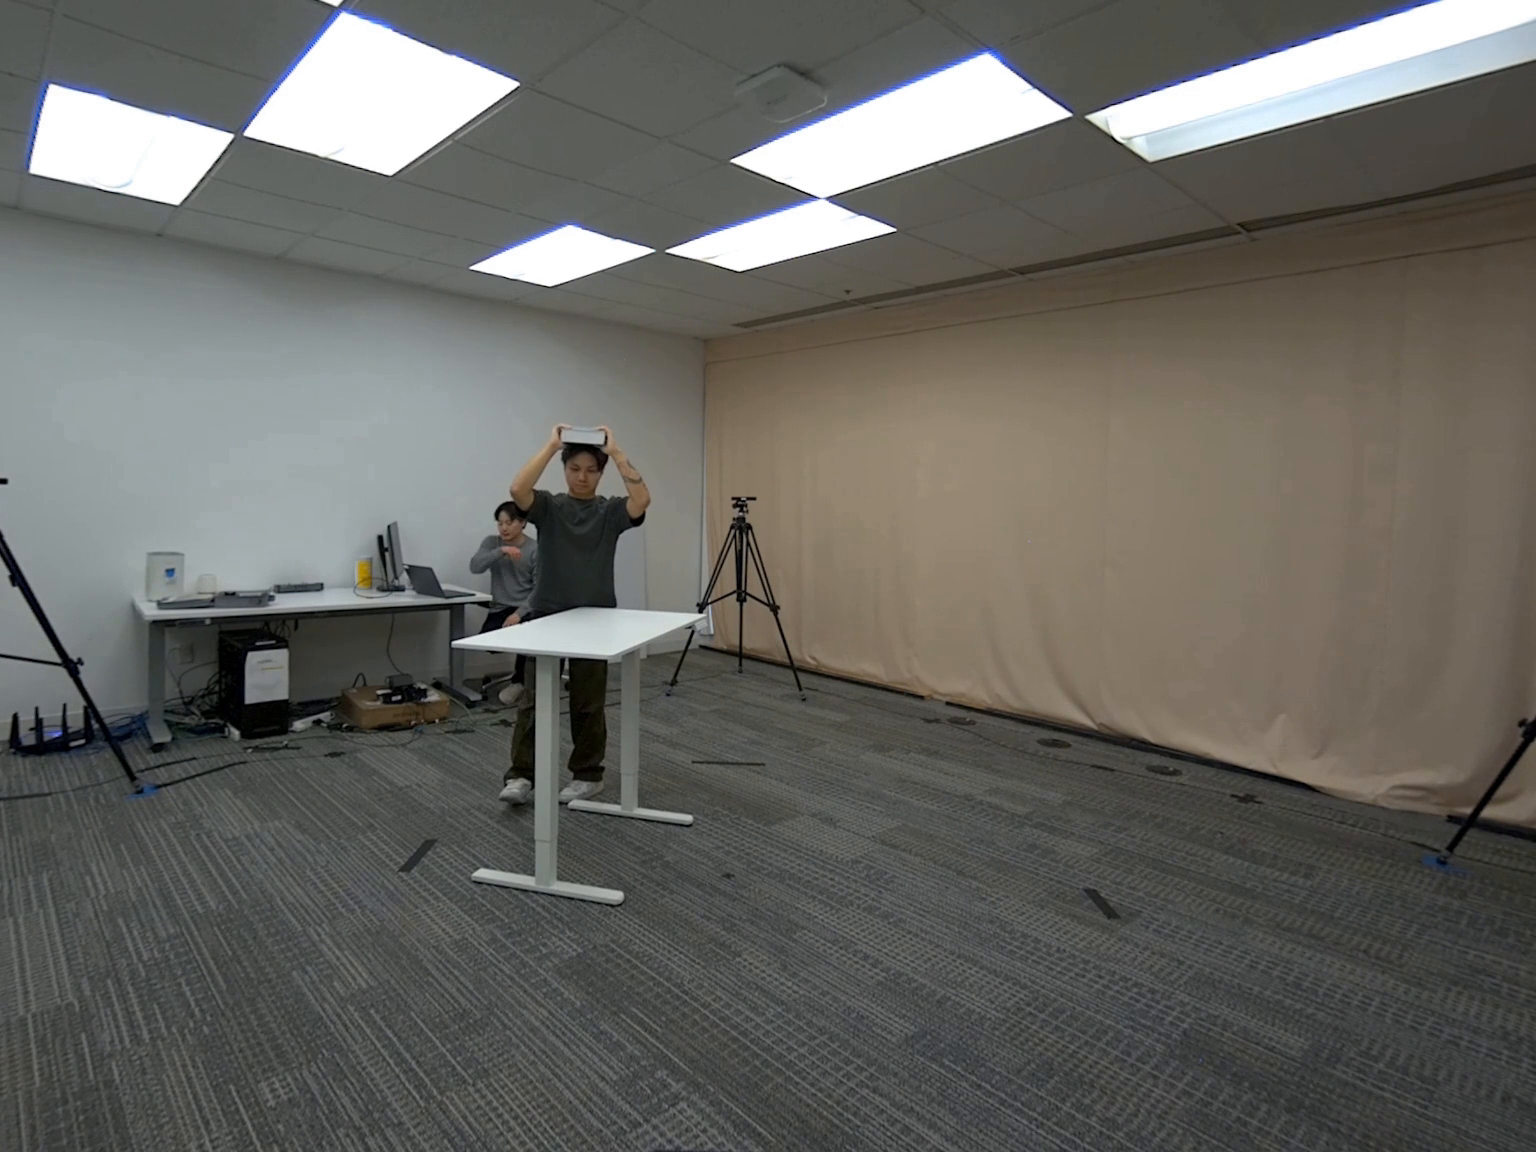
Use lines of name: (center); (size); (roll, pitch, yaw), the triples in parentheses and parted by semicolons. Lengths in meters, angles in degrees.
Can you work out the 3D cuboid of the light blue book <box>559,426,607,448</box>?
light blue book: (-0.821, -0.623, 3.701); (0.190, 0.058, 0.264); (2, 12, -6)
